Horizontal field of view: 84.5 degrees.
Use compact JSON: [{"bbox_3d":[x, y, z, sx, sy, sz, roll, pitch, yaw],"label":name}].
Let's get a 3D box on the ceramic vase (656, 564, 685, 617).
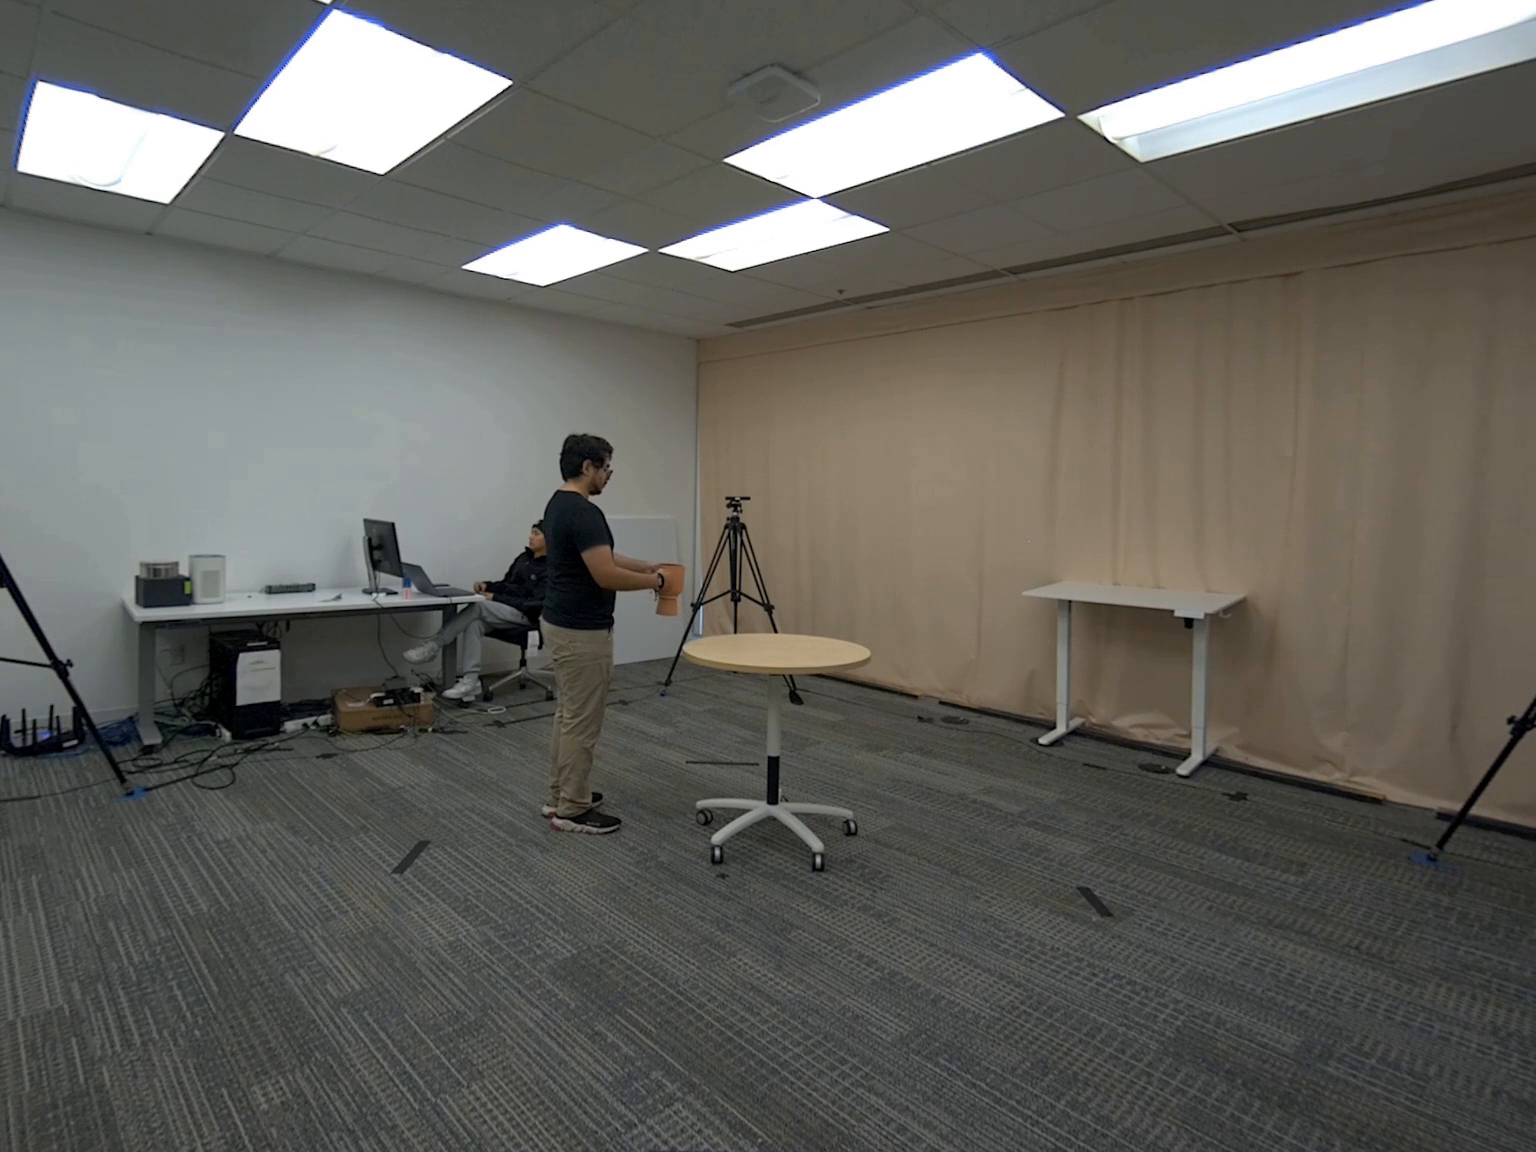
[{"bbox_3d":[-0.452,0.061,3.707,0.137,0.219,0.156,7,5,28],"label":"ceramic vase"}]
